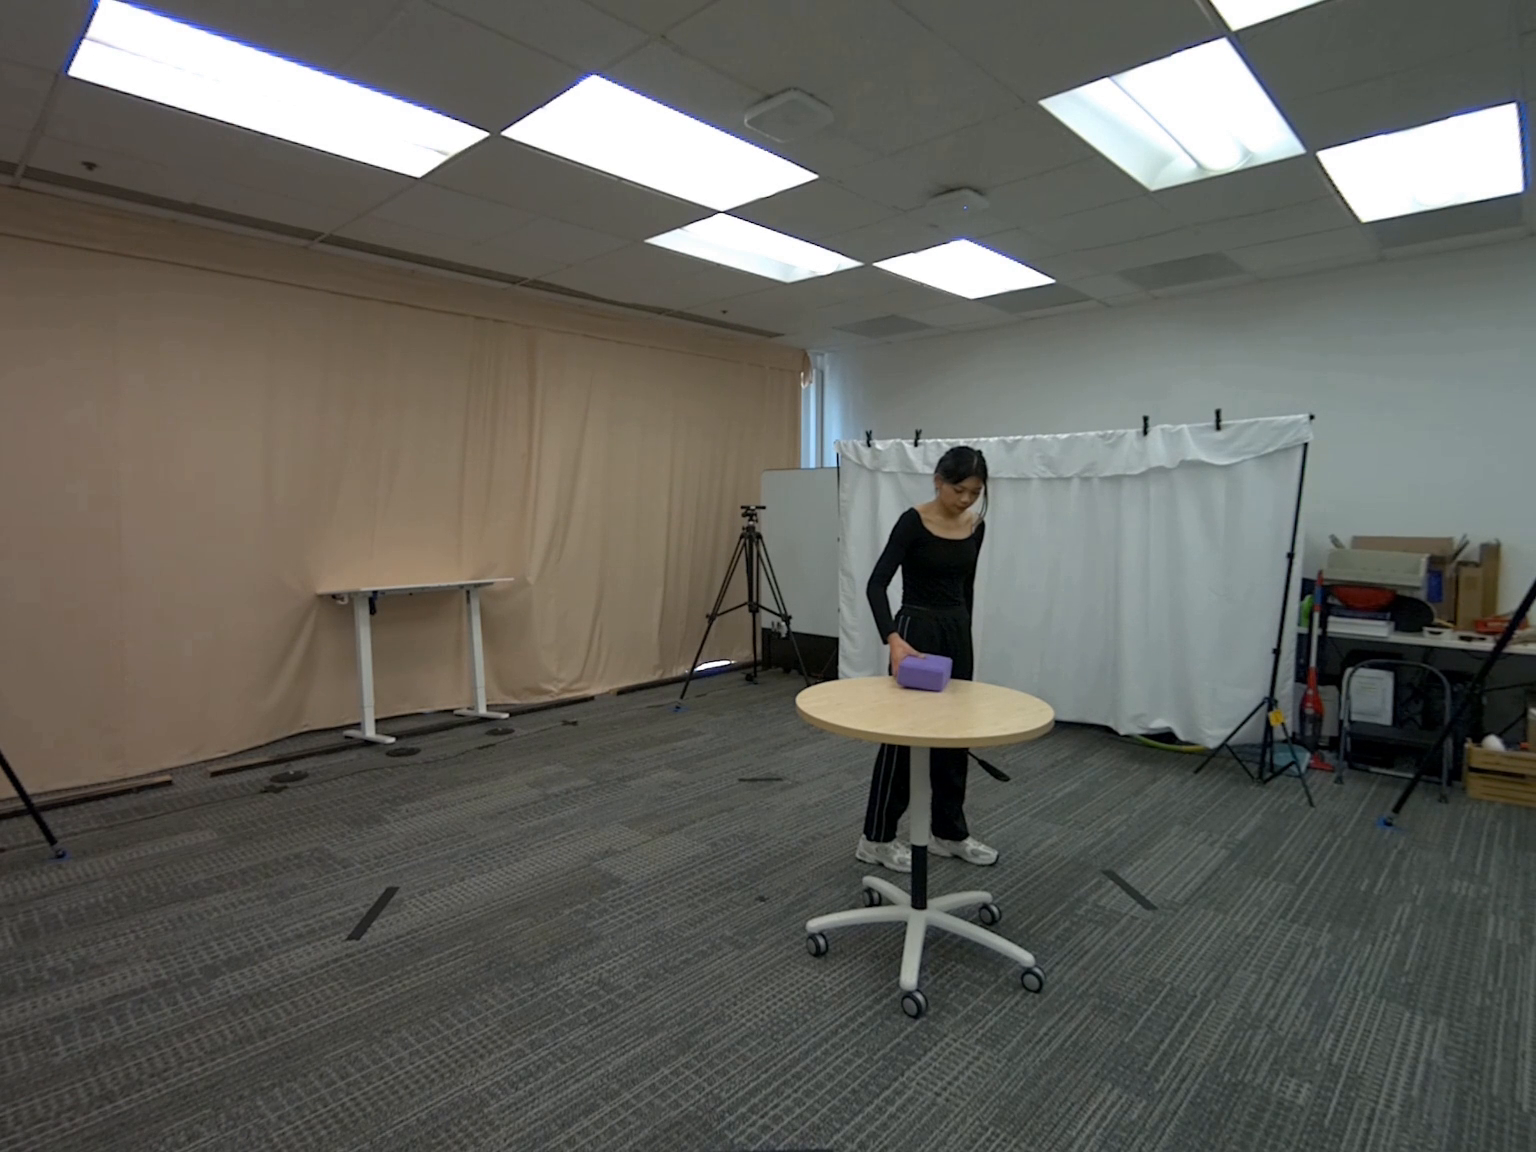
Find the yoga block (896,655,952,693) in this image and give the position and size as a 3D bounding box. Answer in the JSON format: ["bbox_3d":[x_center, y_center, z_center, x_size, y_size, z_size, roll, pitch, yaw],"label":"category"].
[{"bbox_3d":[0.535,0.322,2.844,0.152,0.076,0.225,8,9,19],"label":"yoga block"}]
